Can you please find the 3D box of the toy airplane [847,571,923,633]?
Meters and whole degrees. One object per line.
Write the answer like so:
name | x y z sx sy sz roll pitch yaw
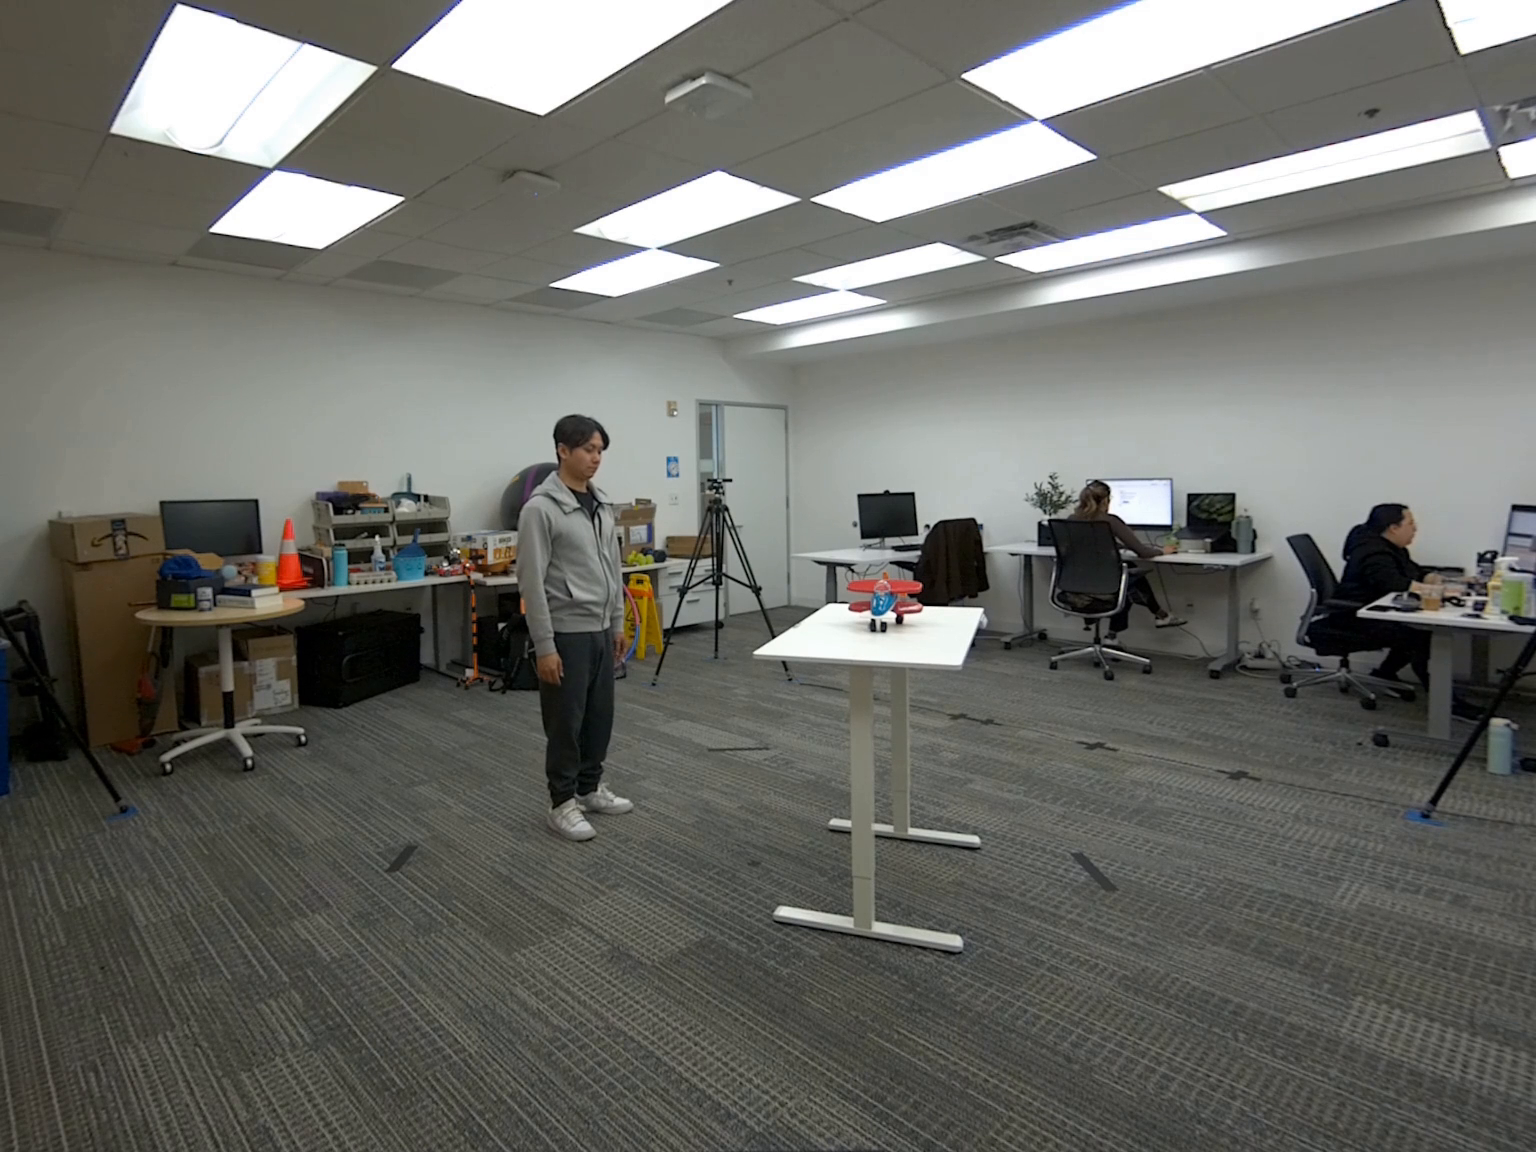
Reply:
toy airplane | 0.415 0.100 2.913 0.249 0.156 0.263 -2 6 -10
